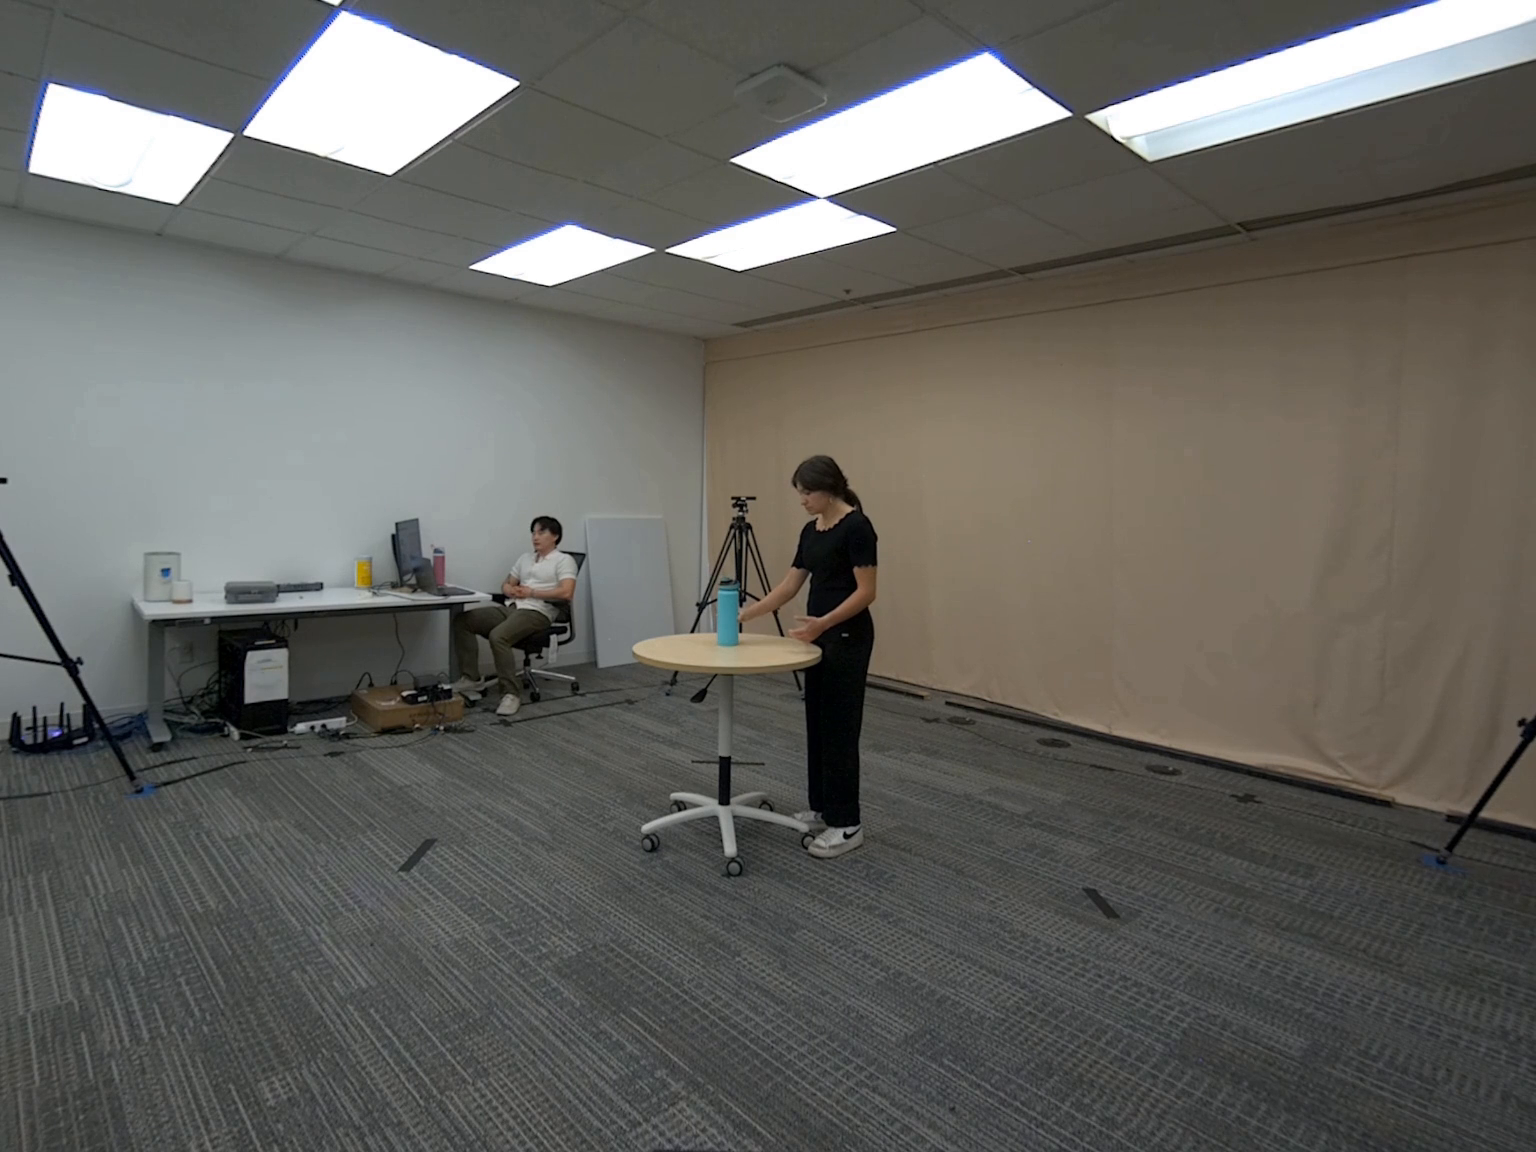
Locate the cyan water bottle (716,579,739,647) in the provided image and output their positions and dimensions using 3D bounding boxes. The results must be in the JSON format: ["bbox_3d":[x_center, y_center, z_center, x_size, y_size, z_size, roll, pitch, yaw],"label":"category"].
[{"bbox_3d":[-0.173,0.143,3.493,0.092,0.283,0.092,2,1,-1],"label":"cyan water bottle"}]
